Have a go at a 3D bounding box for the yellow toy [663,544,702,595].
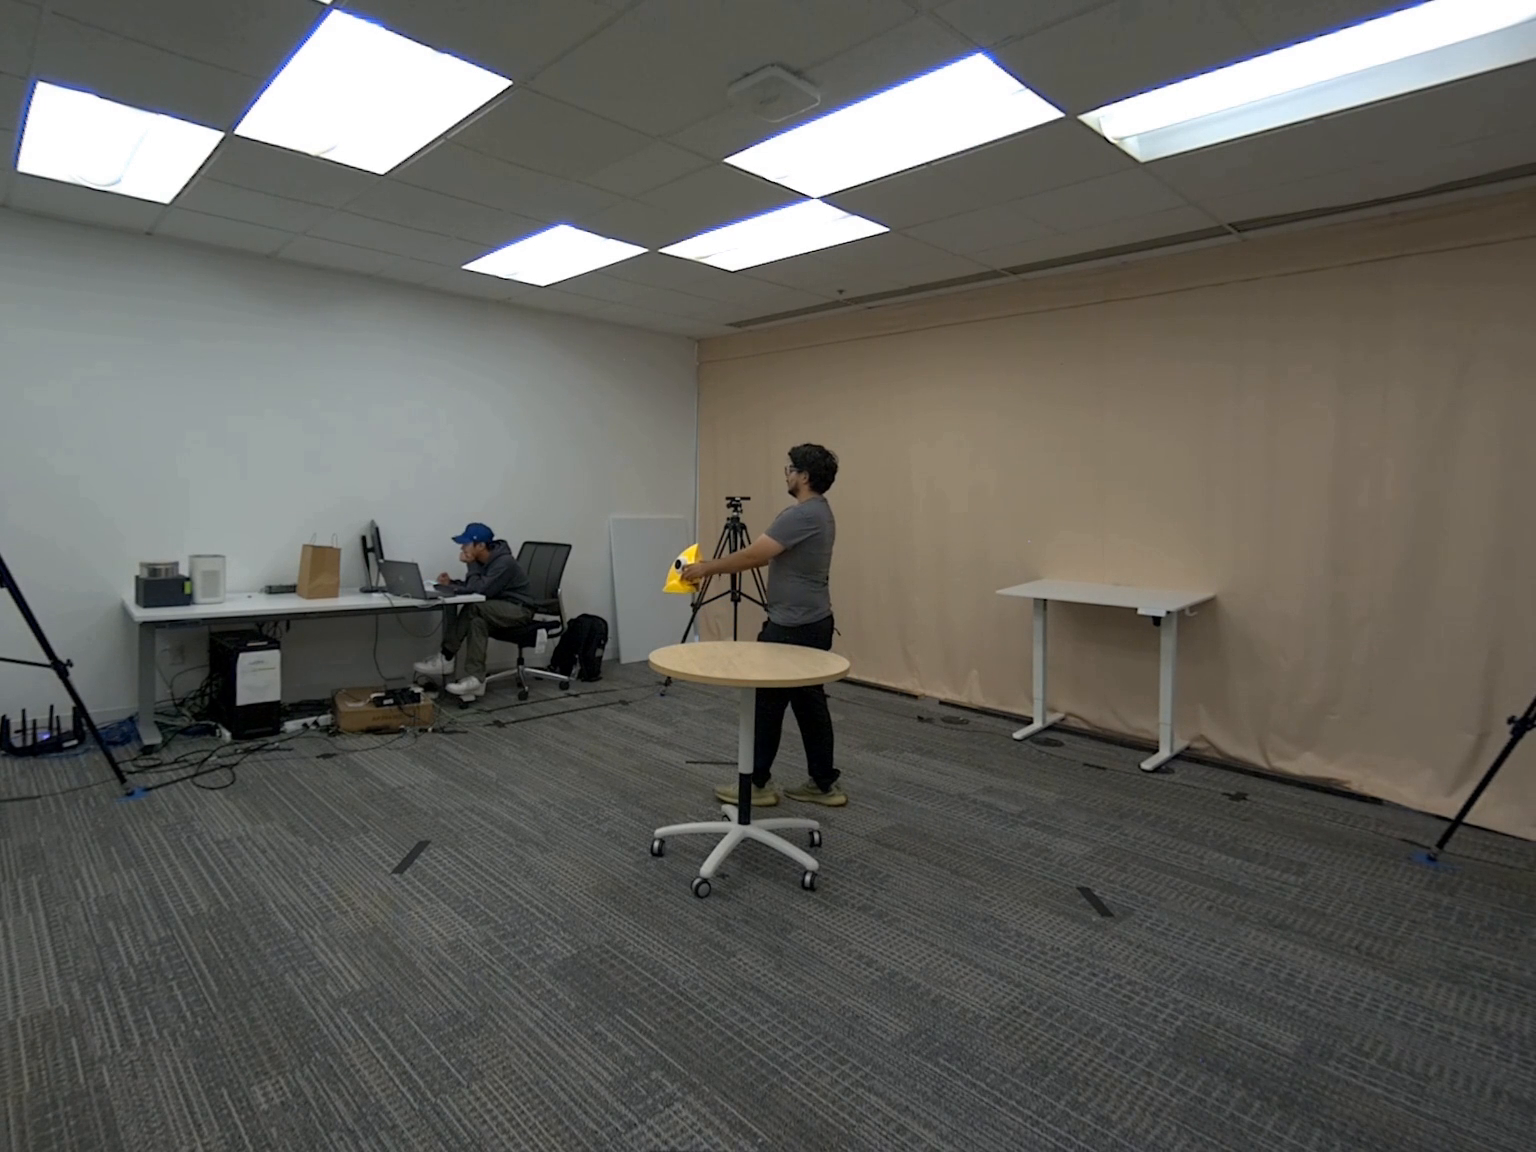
[{"bbox_3d":[-0.406,-0.045,4.025,0.195,0.230,0.202,3,4,15],"label":"yellow toy"}]
